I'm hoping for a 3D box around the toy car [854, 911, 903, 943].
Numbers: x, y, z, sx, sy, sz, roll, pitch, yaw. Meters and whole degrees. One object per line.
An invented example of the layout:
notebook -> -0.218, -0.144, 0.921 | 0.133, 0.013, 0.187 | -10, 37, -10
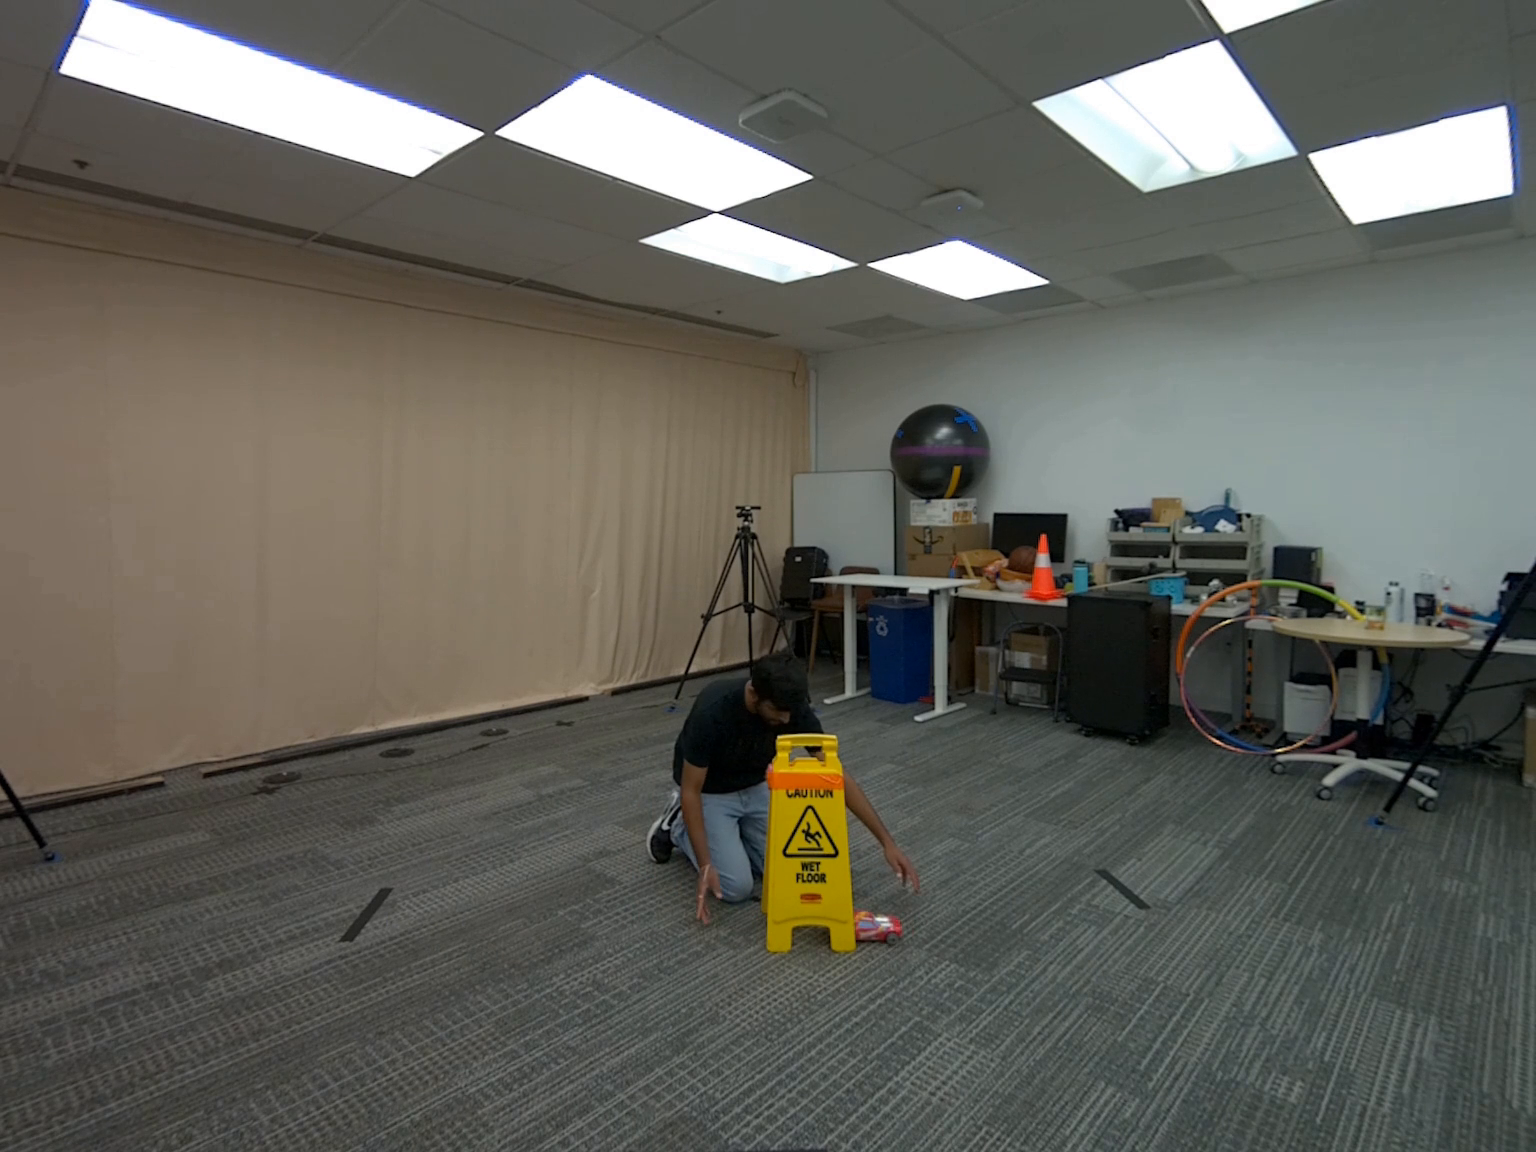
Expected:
toy car -> 0.277, 1.131, 2.718 | 0.255, 0.083, 0.130 | 10, 5, 1
